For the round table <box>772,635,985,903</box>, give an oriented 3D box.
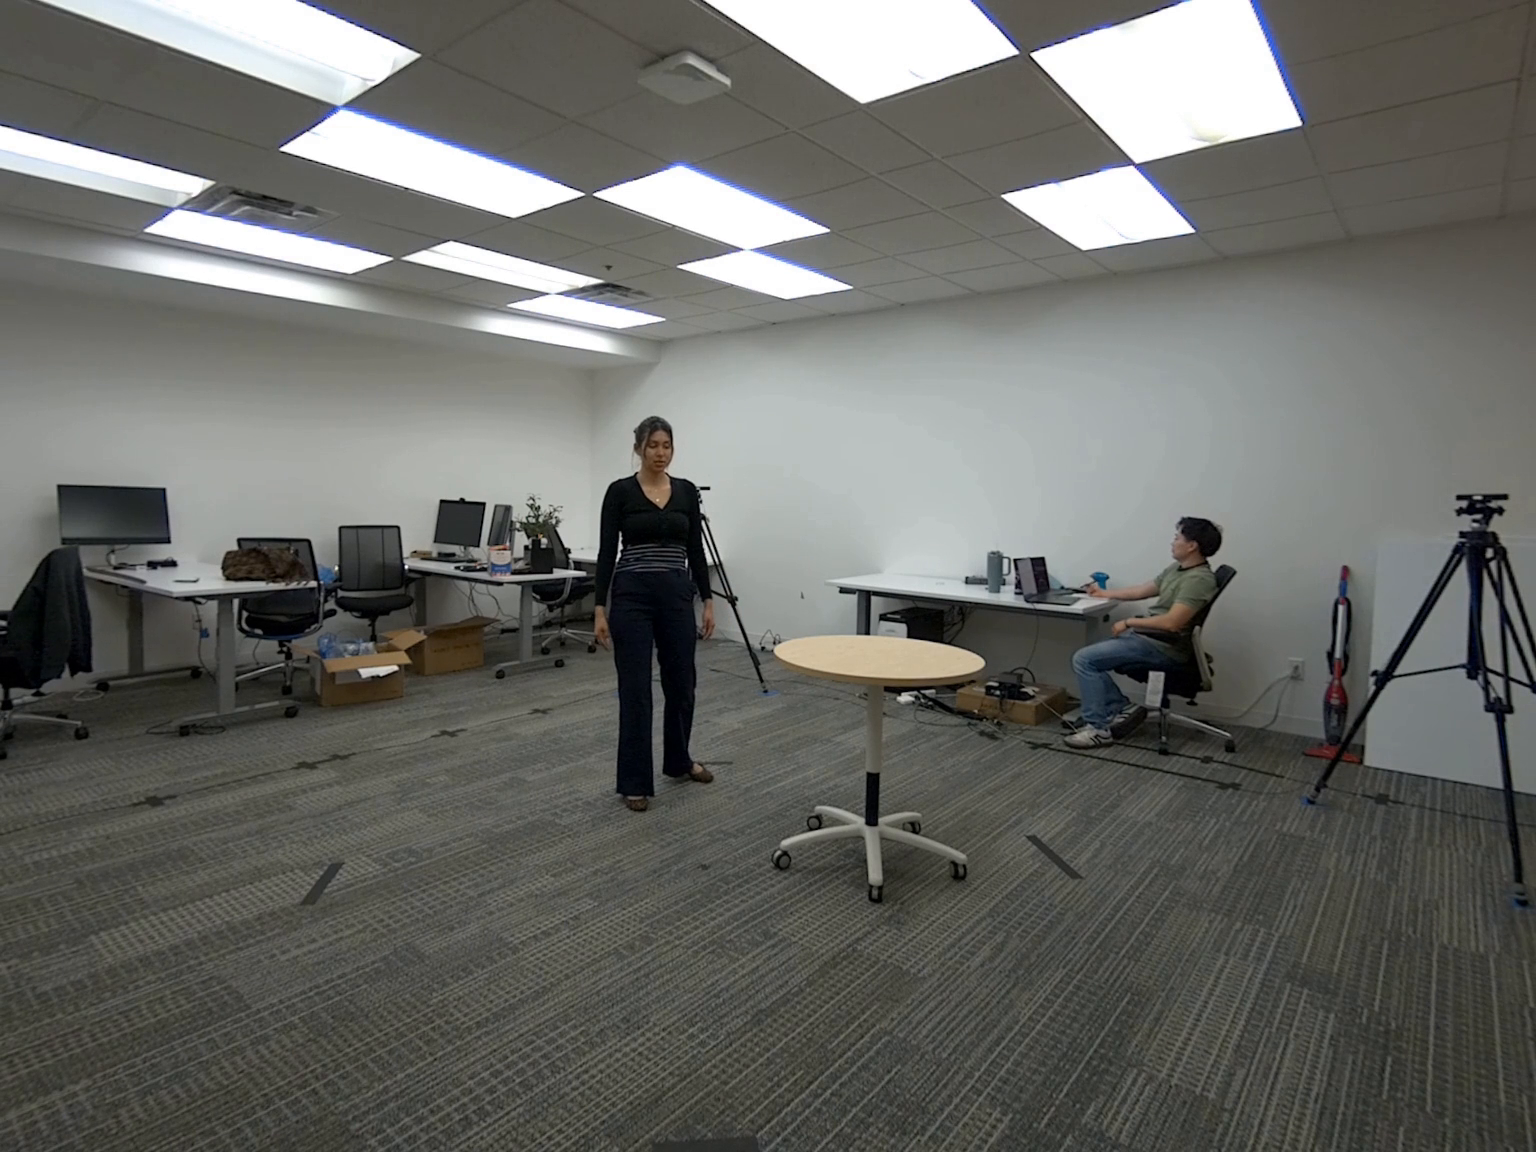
[{"bbox_3d":[0.385,0.680,3.180,0.763,0.791,0.768,1,5,-2],"label":"round table"}]
